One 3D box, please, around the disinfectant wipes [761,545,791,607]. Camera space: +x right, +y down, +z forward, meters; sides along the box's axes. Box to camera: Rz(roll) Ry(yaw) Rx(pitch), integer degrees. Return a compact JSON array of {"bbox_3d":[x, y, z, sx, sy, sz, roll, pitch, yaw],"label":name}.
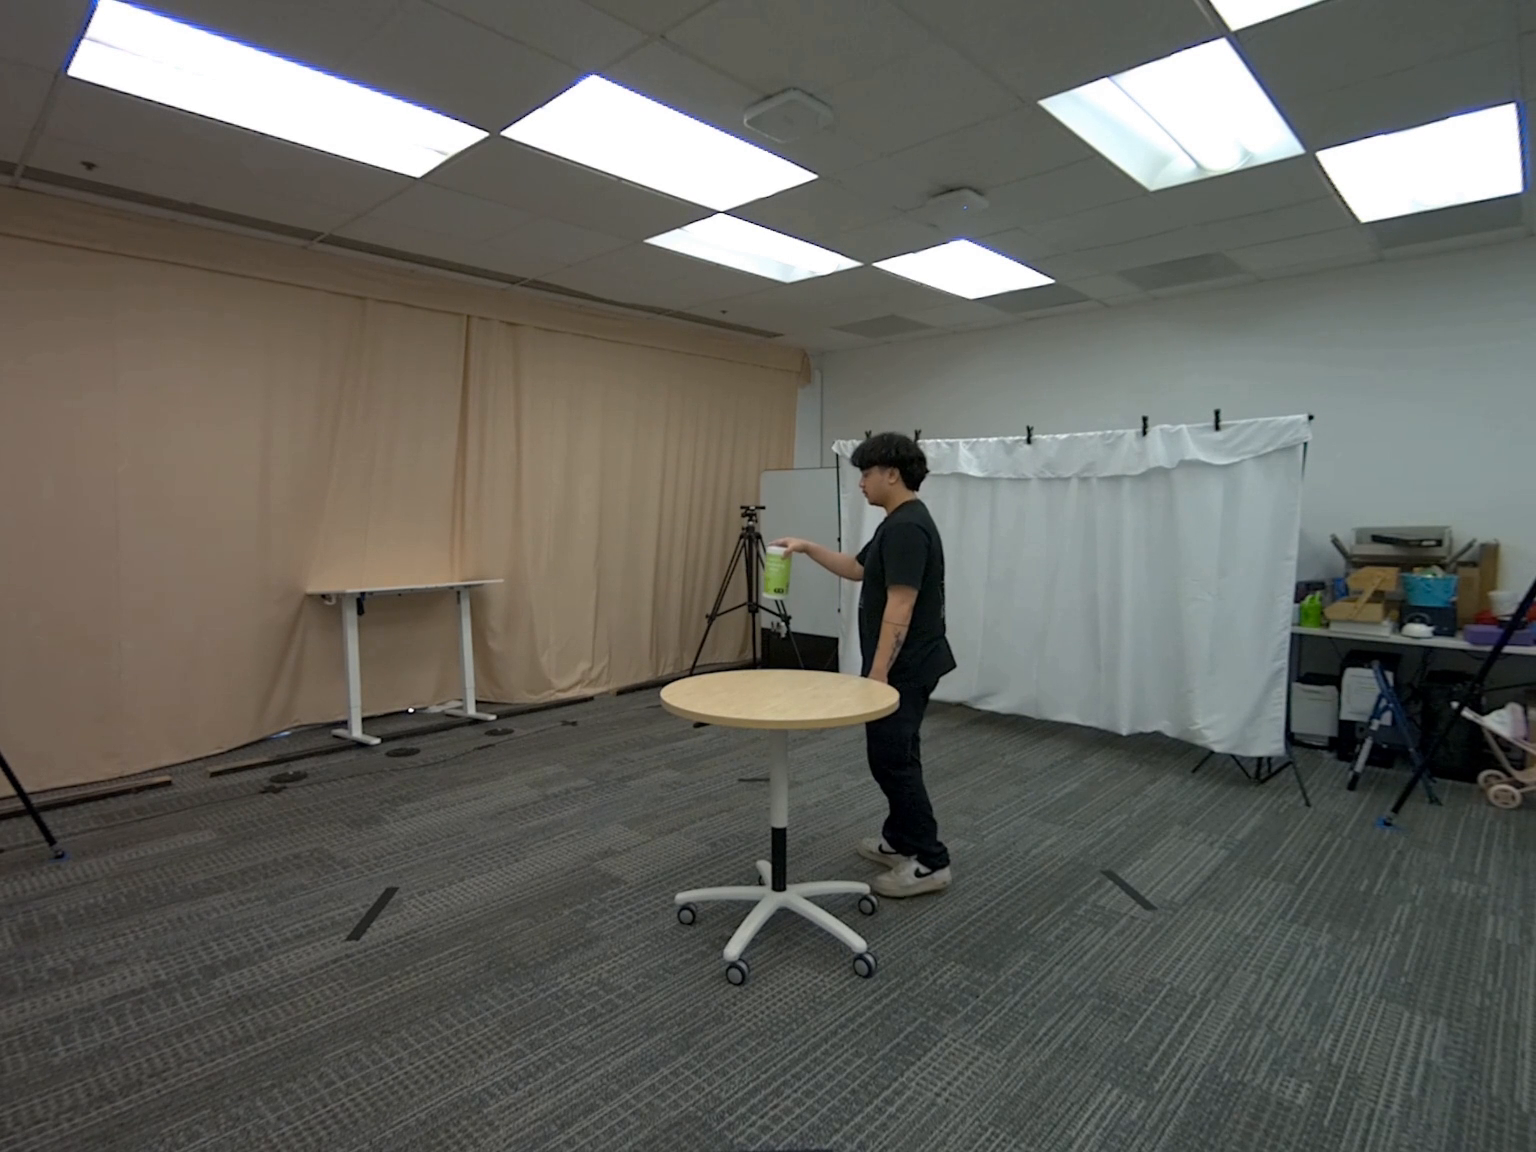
[{"bbox_3d":[0.040,-0.010,3.467,0.117,0.216,0.118,3,7,-2],"label":"disinfectant wipes"}]
